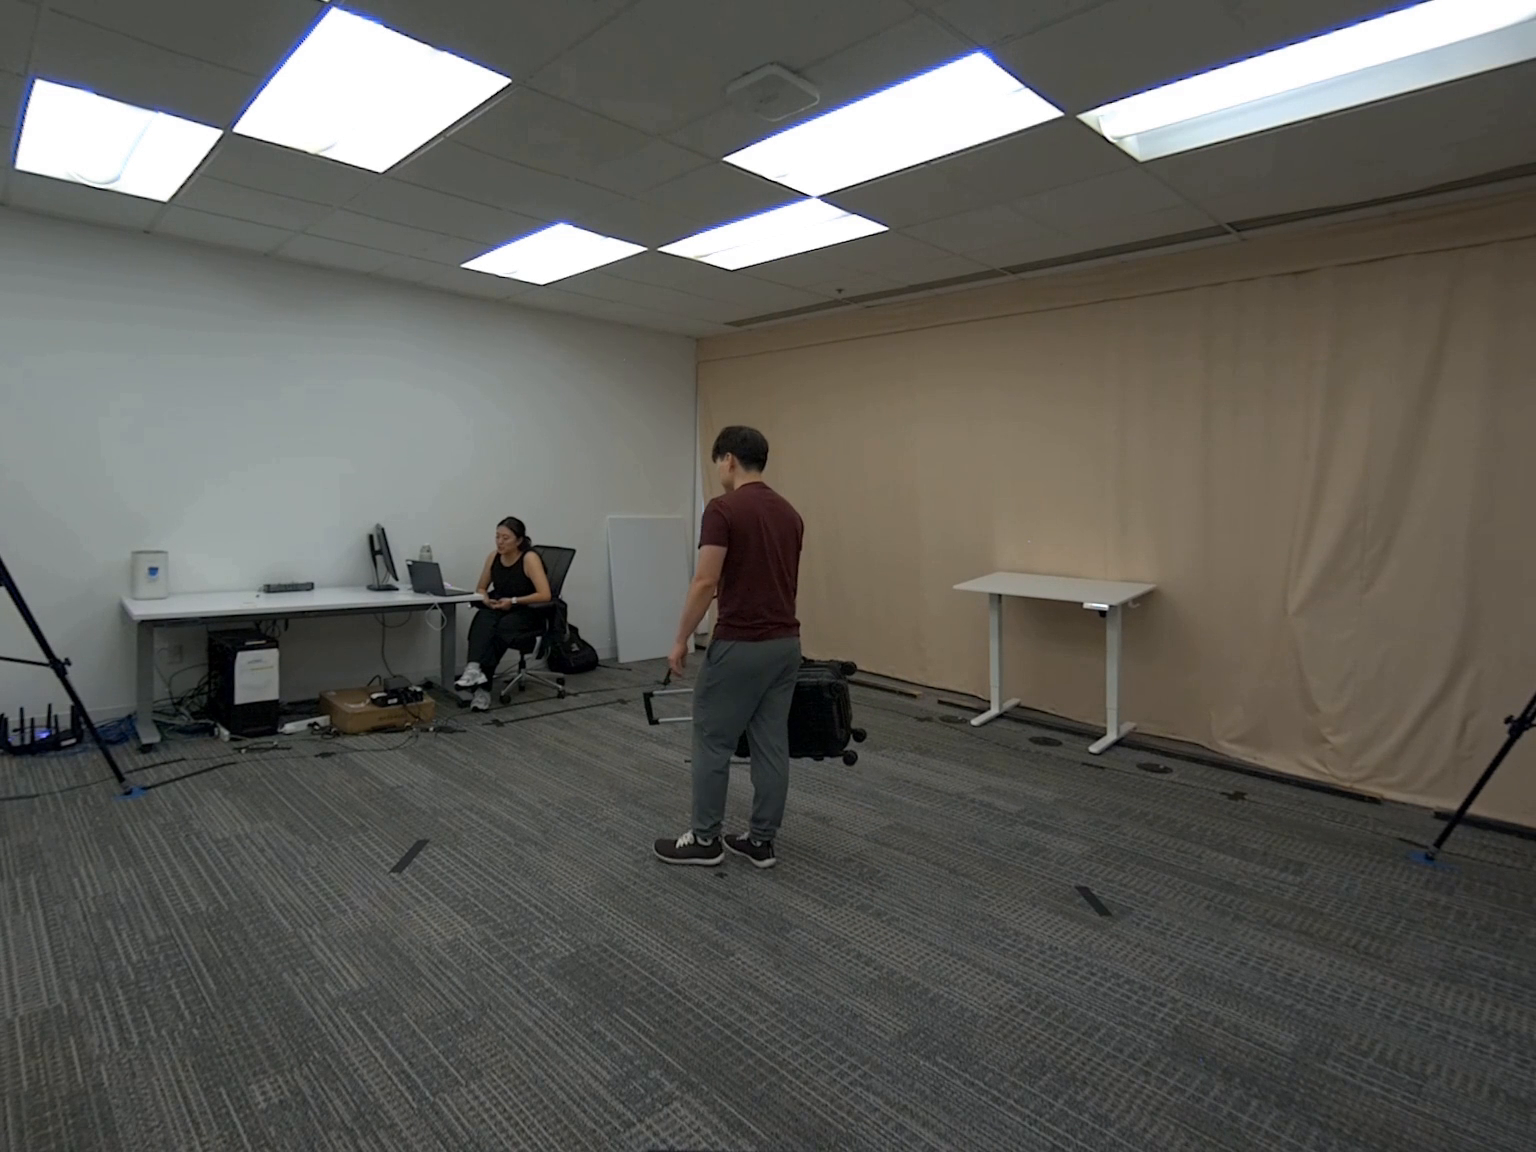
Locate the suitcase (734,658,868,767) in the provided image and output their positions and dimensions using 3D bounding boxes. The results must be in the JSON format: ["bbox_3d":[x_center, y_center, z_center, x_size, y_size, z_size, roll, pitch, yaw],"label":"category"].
[{"bbox_3d":[-0.113,0.564,3.536,0.991,0.381,0.255,-4,9,17],"label":"suitcase"}]
